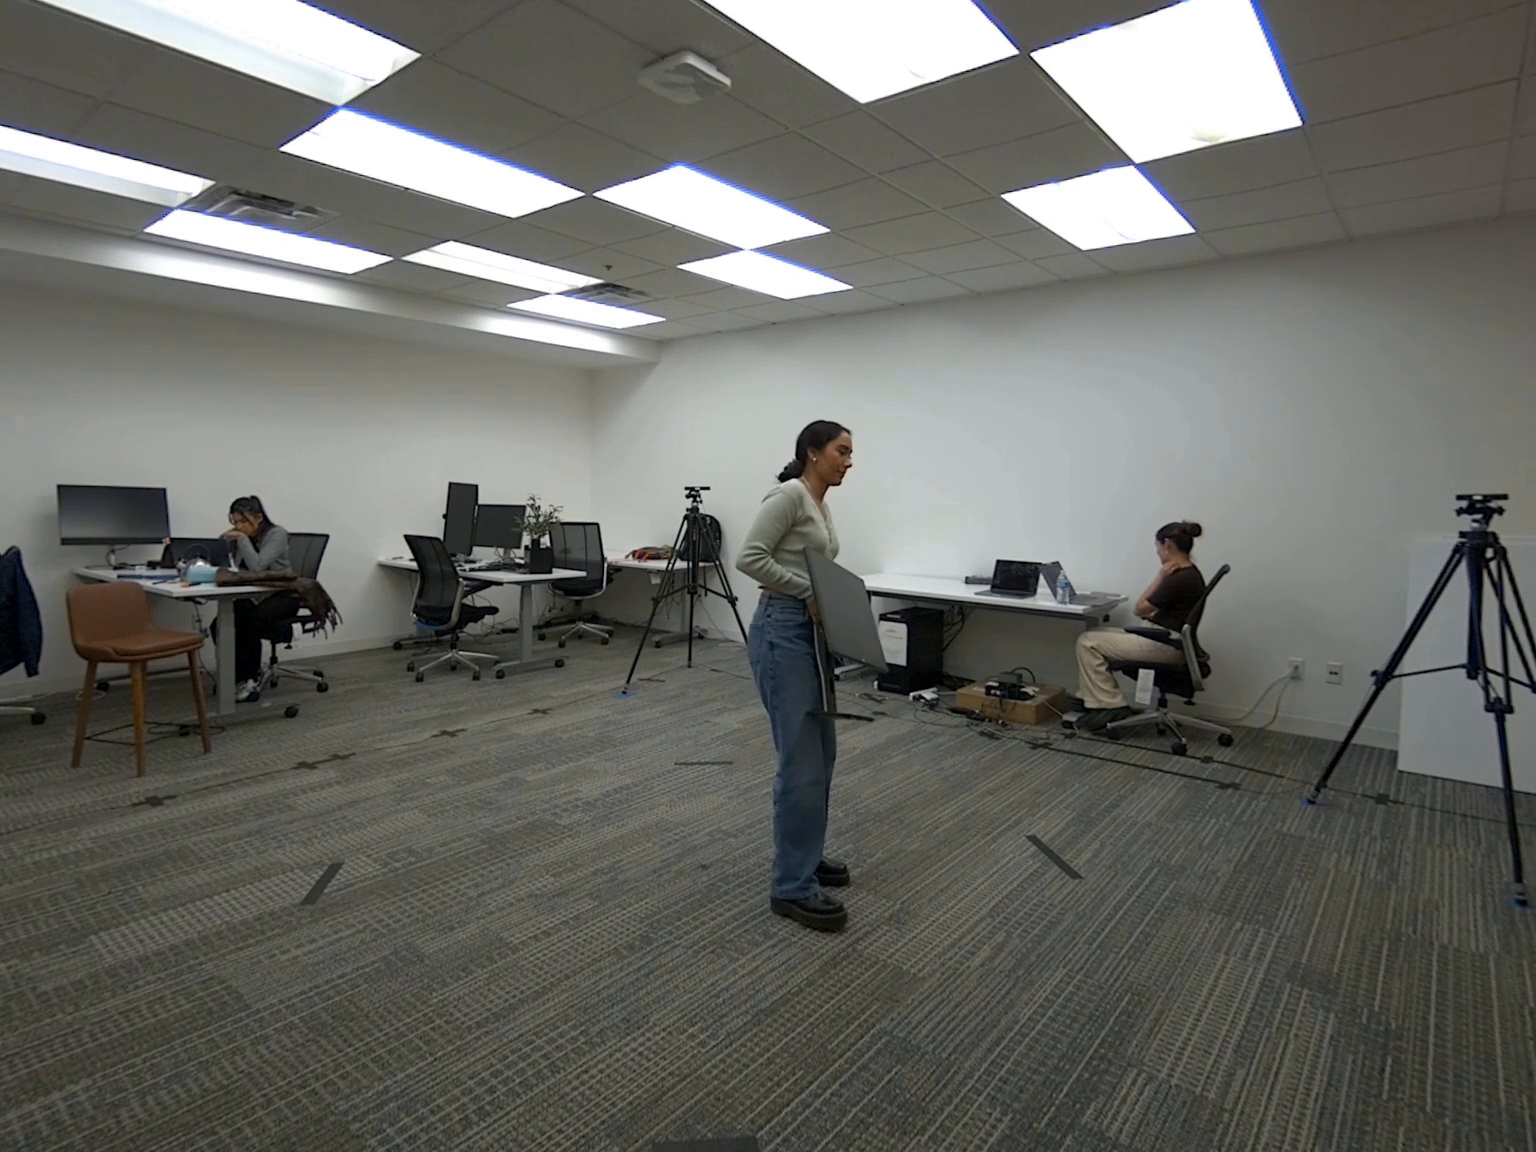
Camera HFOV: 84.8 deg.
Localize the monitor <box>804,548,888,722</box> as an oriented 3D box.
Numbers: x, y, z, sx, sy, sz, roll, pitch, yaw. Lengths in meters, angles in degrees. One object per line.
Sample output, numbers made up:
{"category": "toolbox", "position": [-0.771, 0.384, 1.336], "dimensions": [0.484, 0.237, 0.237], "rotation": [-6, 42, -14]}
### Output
{"category": "monitor", "position": [0.234, 0.206, 2.815], "dimensions": [0.179, 0.522, 0.511], "rotation": [-1, -14, 25]}
